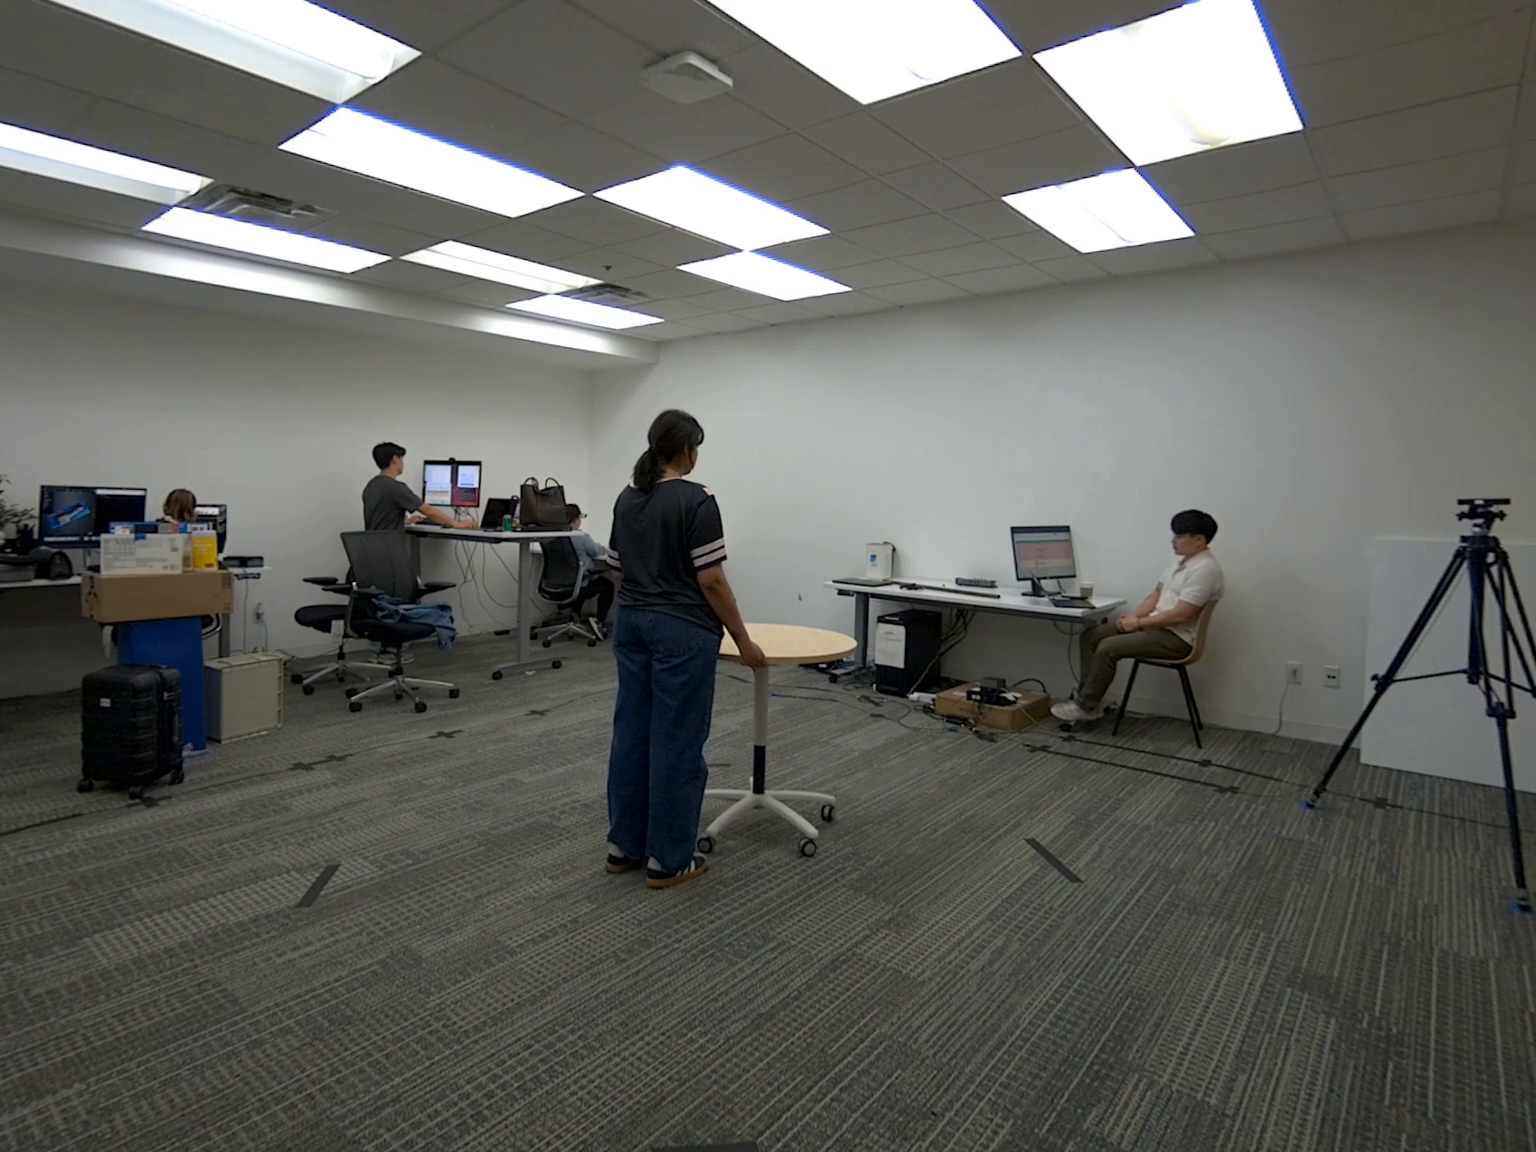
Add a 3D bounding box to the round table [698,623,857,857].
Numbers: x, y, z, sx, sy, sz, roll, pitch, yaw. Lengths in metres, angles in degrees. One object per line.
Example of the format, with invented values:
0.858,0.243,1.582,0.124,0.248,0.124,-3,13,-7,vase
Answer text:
-0.053,0.641,3.501,0.784,0.784,0.789,1,4,-2,round table
